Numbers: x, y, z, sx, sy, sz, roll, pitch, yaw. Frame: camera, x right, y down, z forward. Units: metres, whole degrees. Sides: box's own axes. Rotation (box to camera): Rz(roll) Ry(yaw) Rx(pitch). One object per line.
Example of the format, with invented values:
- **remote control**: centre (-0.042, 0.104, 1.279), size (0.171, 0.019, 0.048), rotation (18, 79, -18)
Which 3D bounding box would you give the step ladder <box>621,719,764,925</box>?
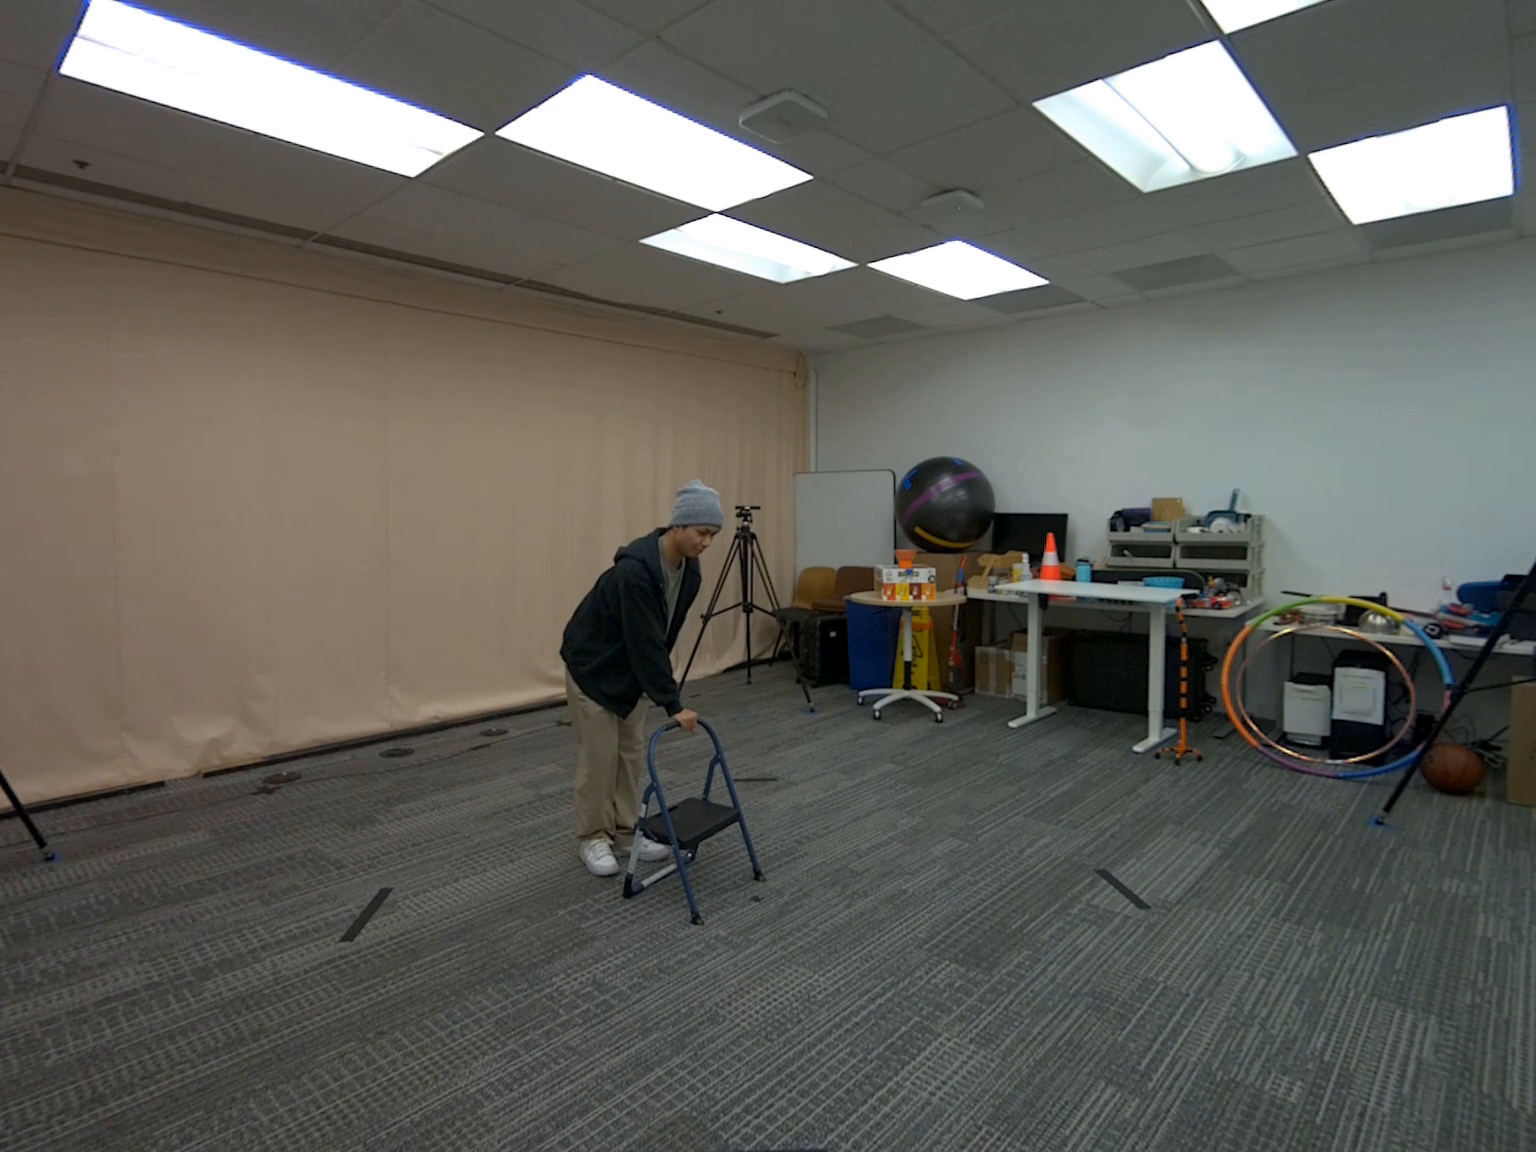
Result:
- **step ladder**: centre (-0.267, 0.835, 3.051), size (0.360, 0.605, 0.418), rotation (2, 4, 33)
